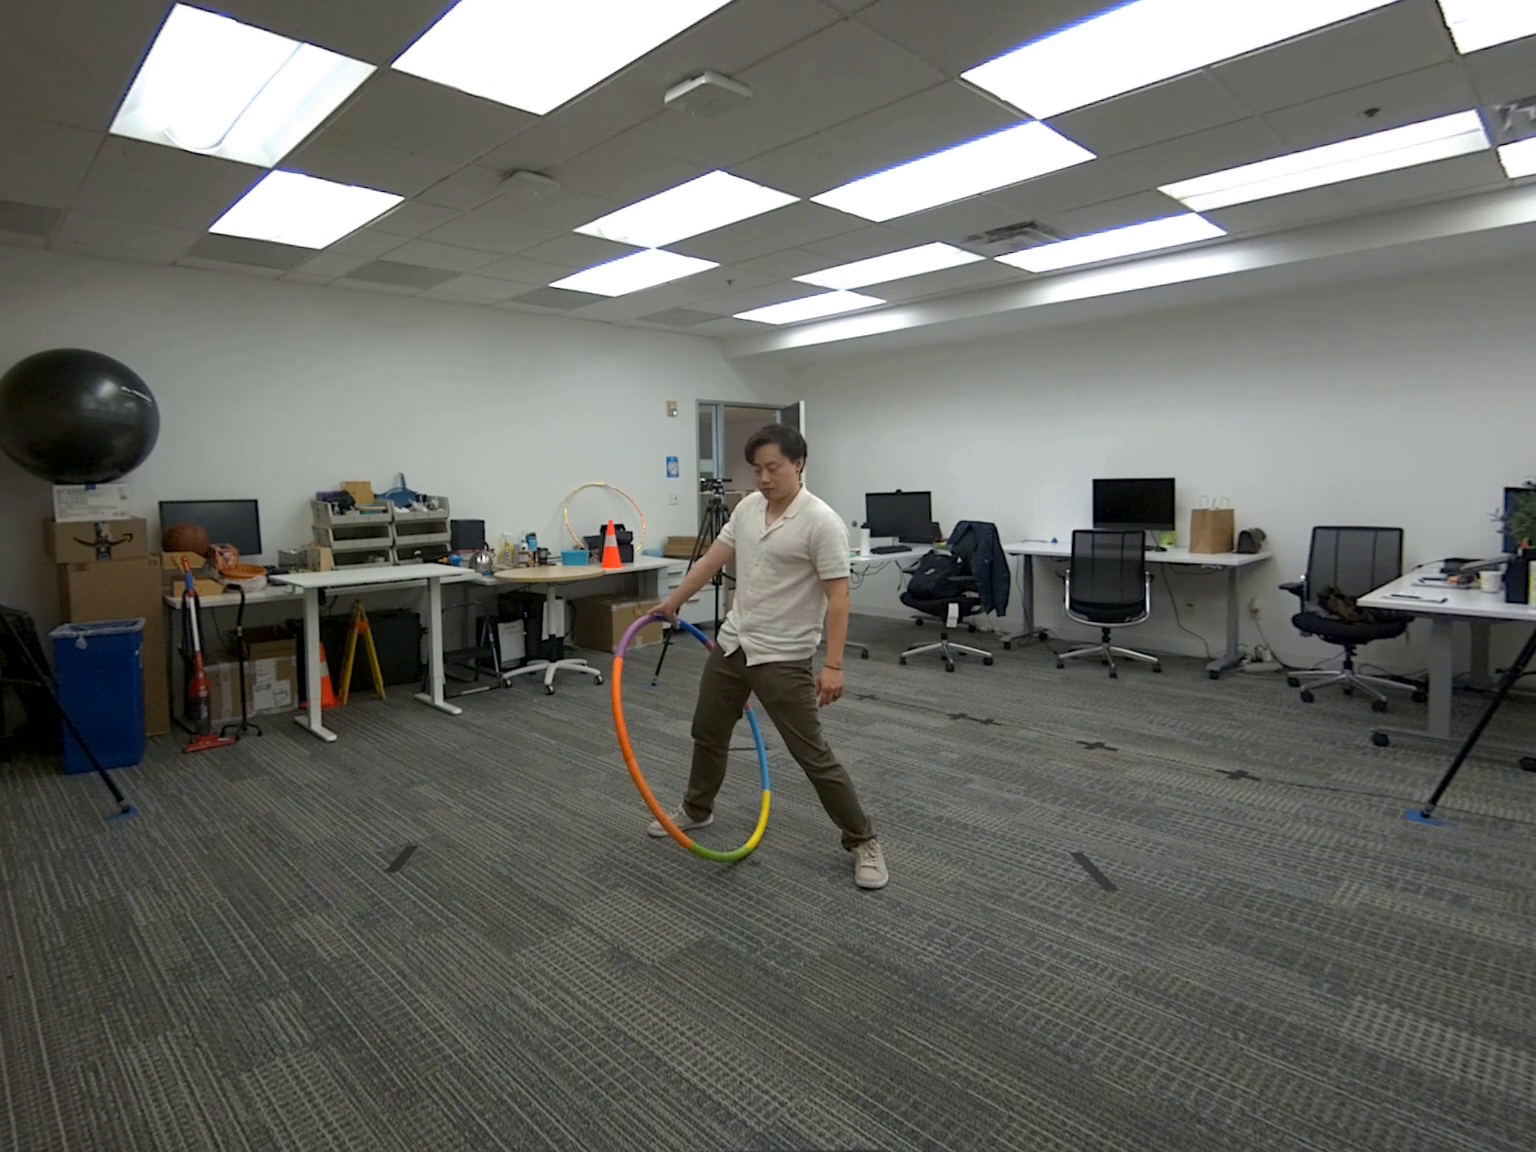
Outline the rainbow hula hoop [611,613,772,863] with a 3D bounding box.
[{"bbox_3d":[-0.265,0.590,3.272,0.036,0.987,0.963,-29,-6,21],"label":"rainbow hula hoop"}]
